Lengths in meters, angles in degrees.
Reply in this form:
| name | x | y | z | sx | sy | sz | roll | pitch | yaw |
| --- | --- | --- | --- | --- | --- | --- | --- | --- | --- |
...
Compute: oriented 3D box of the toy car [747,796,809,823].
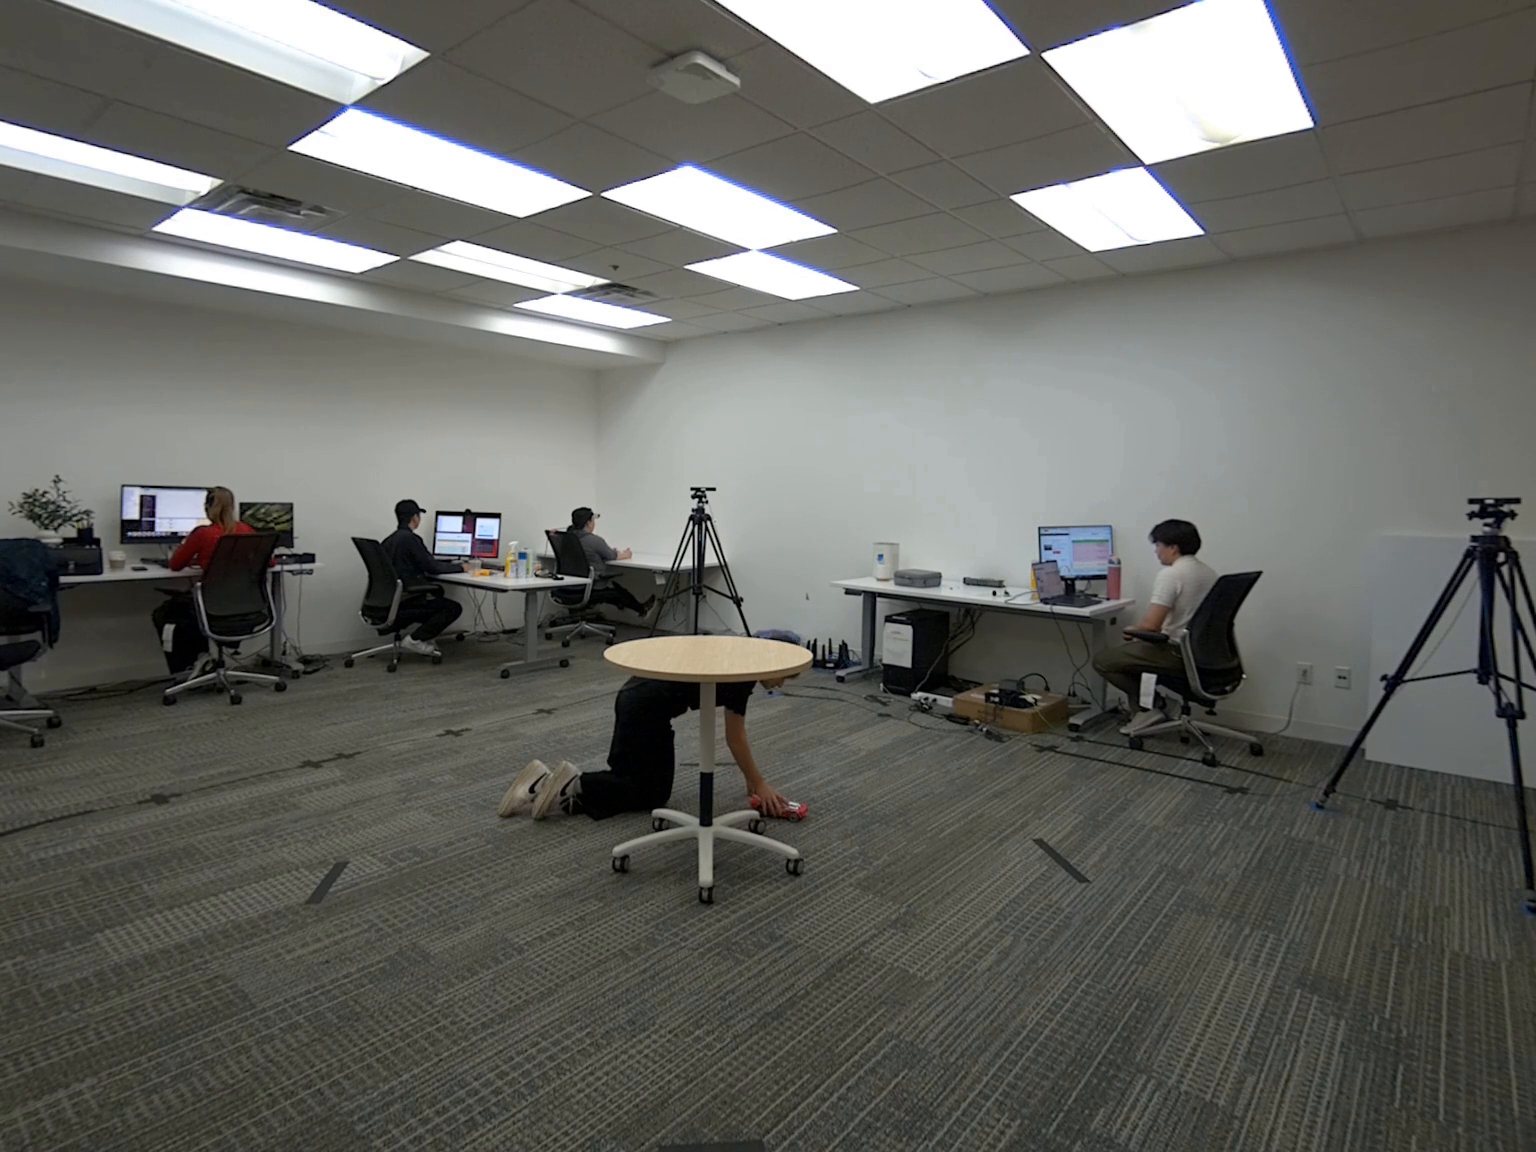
| name | x | y | z | sx | sy | sz | roll | pitch | yaw |
| --- | --- | --- | --- | --- | --- | --- | --- | --- | --- |
| toy car | 0.033 | 0.988 | 3.652 | 0.262 | 0.083 | 0.127 | 15 | 10 | 23 |
